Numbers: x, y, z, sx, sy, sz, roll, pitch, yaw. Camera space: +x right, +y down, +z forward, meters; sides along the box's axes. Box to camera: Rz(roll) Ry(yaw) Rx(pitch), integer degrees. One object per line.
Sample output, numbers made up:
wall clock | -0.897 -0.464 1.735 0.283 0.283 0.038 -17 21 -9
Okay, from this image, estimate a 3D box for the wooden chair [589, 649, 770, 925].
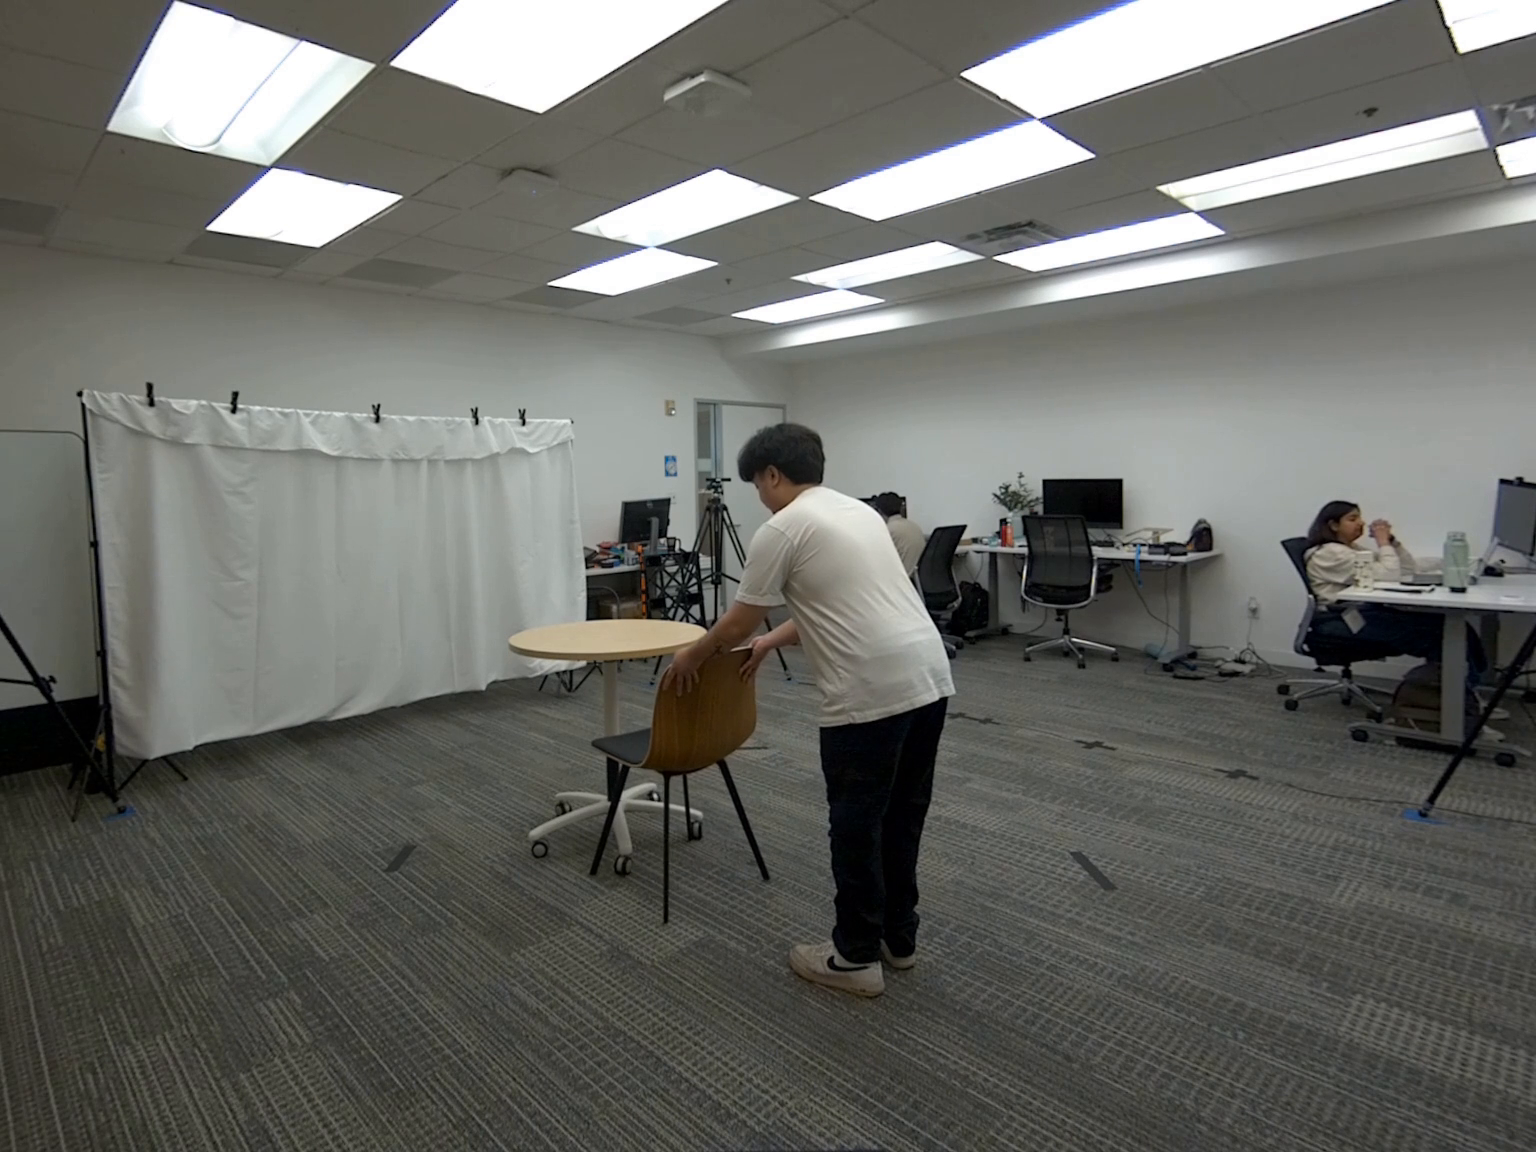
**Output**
wooden chair | -0.319 0.632 2.974 0.466 0.871 0.541 -6 11 -40
